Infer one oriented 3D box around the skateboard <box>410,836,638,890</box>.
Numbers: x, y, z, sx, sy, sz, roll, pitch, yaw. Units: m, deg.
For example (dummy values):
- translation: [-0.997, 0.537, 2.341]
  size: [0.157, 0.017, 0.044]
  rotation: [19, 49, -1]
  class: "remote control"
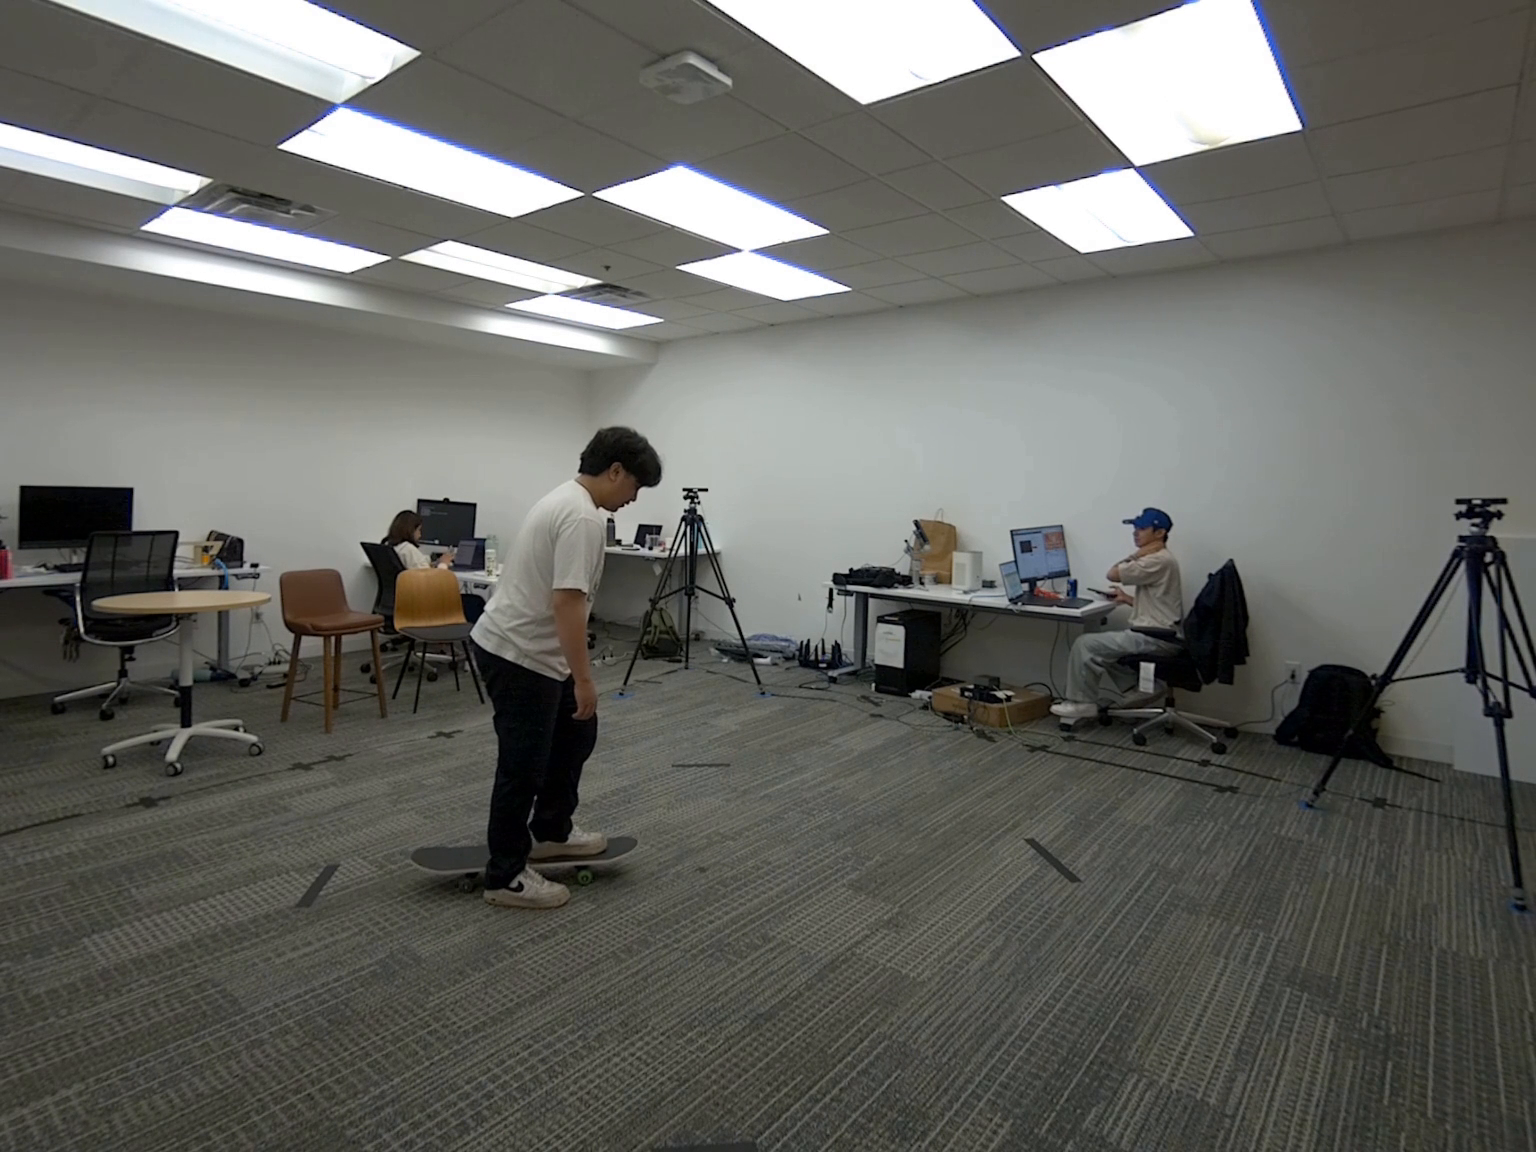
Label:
- translation: [-0.871, 1.011, 3.007]
  size: [0.776, 0.110, 0.196]
  rotation: [0, 5, -11]
  class: "skateboard"
